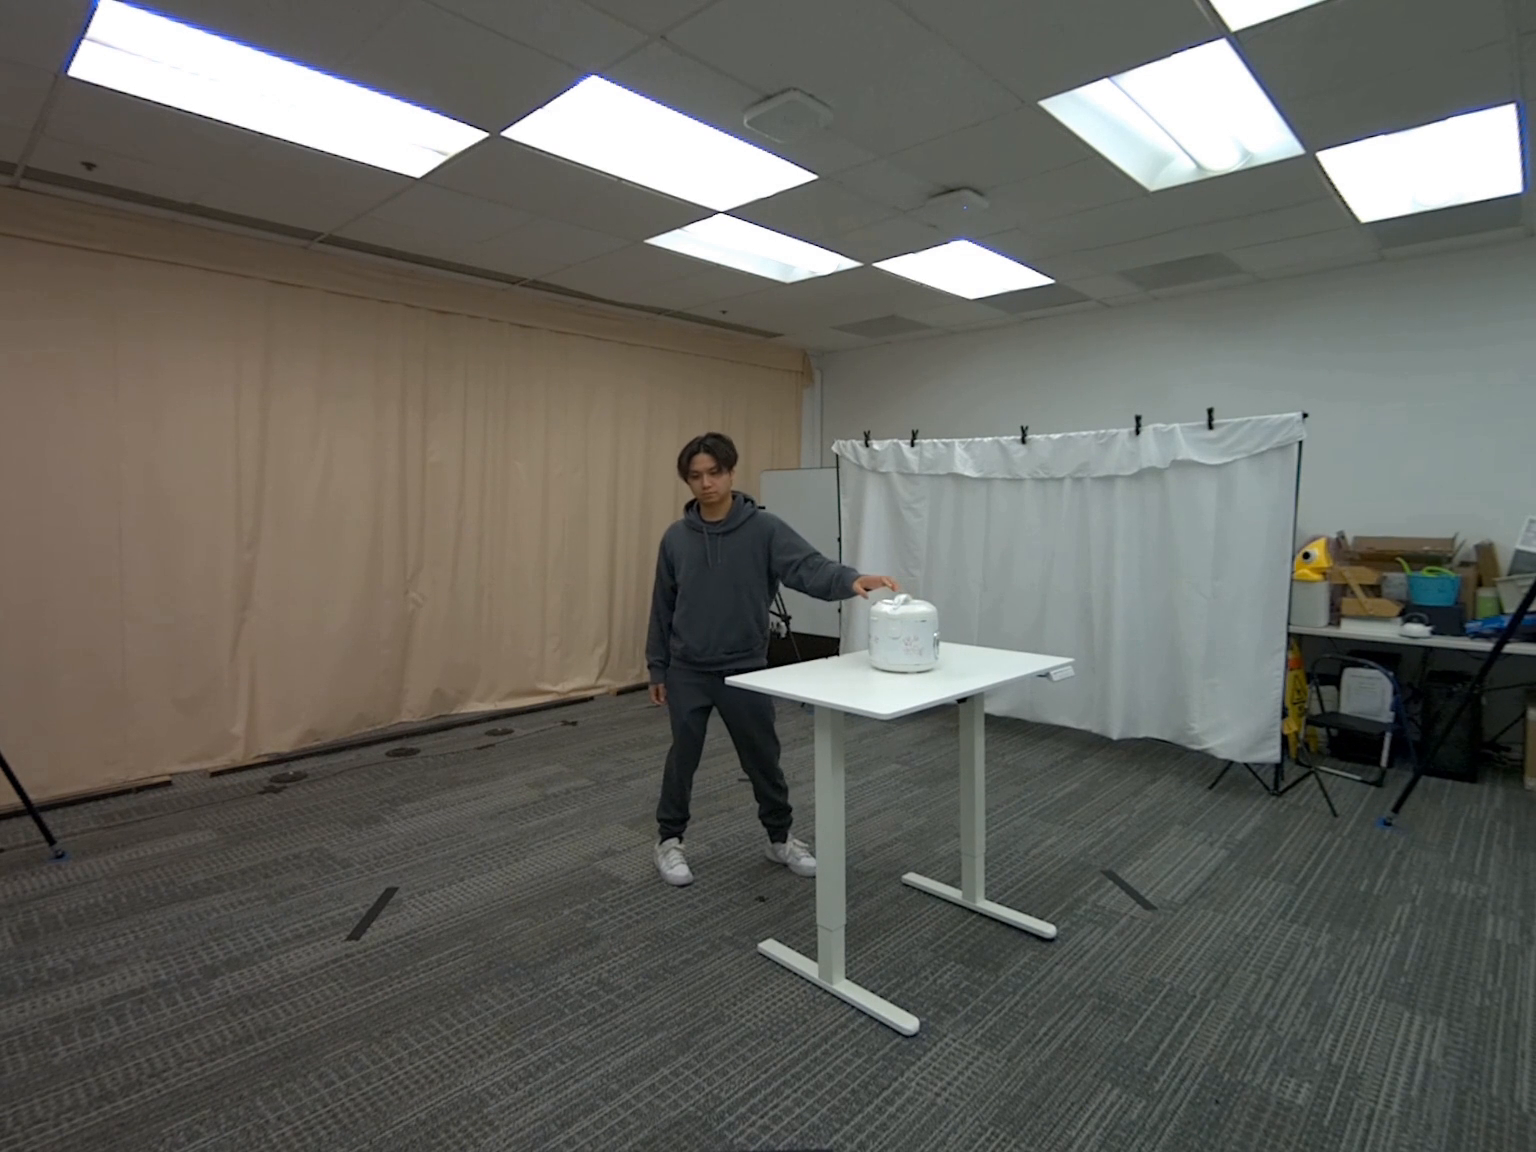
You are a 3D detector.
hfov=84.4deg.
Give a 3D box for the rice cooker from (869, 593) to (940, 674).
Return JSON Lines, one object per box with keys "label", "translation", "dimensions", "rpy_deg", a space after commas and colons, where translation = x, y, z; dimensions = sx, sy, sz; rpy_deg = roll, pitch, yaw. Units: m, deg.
{"label": "rice cooker", "translation": [0.429, 0.175, 2.621], "dimensions": [0.223, 0.232, 0.216], "rpy_deg": [-1, 5, 25]}
